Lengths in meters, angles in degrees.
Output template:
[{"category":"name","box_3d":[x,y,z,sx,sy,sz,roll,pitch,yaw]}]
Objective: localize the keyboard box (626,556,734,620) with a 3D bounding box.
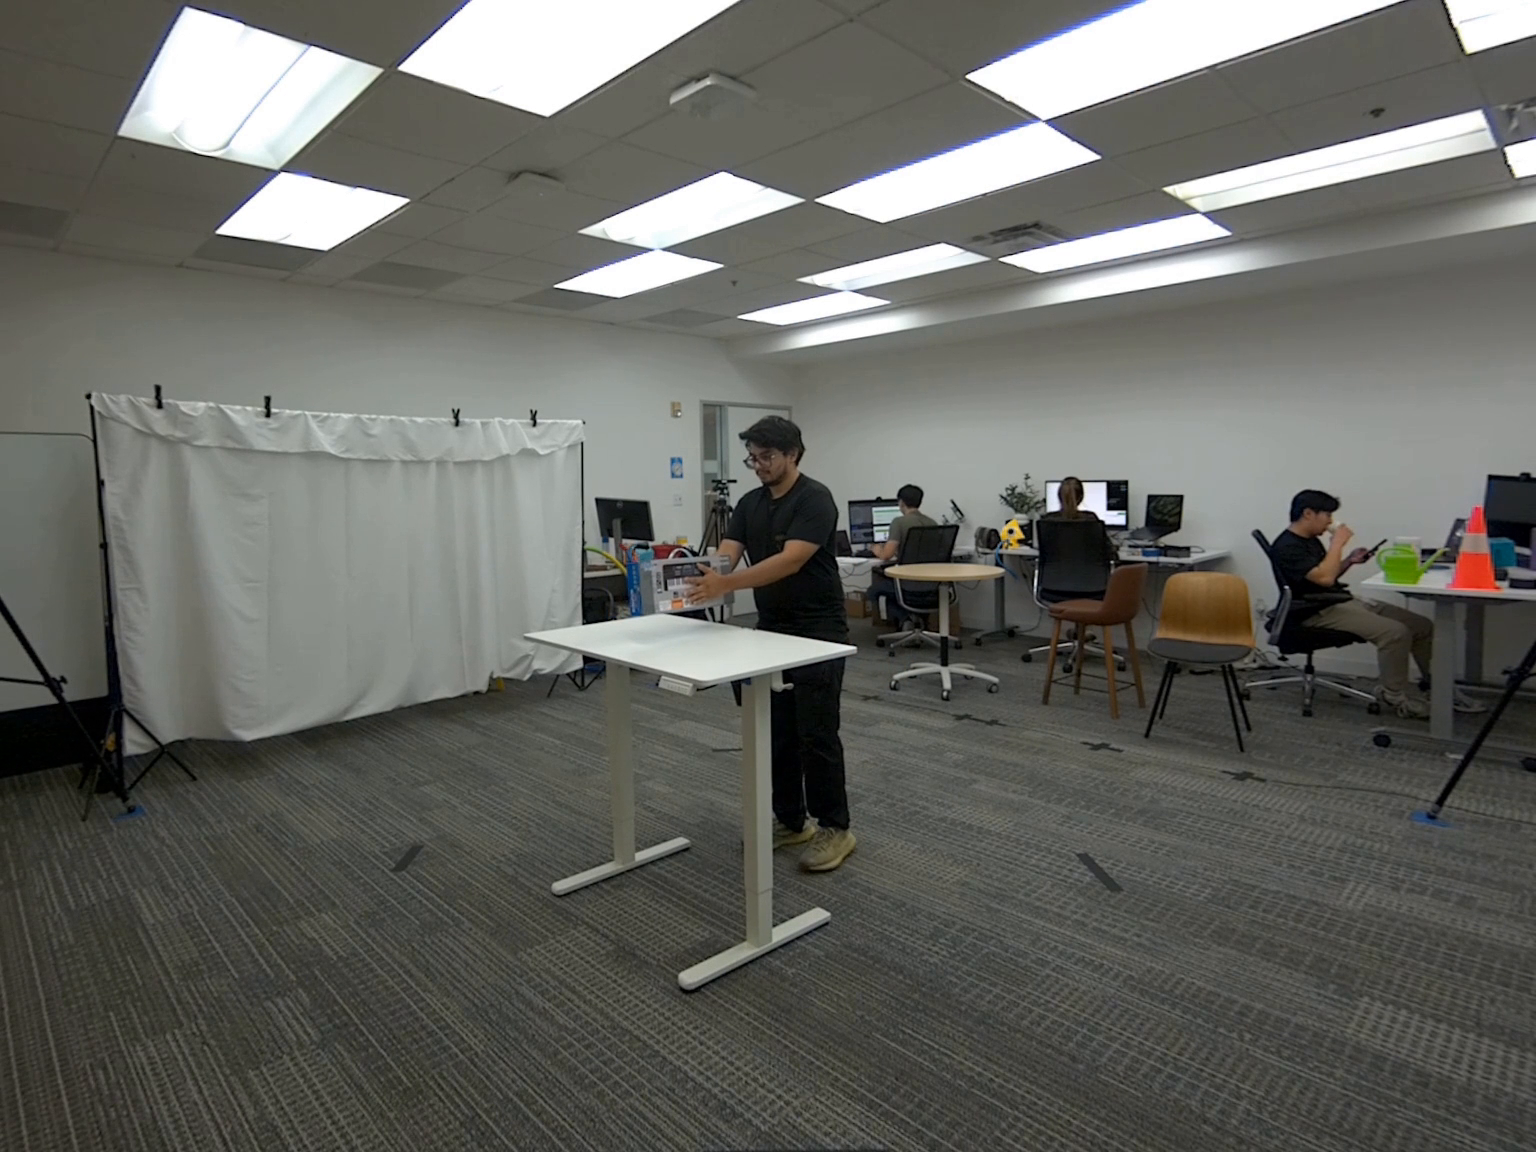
[{"category":"keyboard box","box_3d":[-0.292,0.030,2.870,0.060,0.176,0.425,-6,0,39]}]
